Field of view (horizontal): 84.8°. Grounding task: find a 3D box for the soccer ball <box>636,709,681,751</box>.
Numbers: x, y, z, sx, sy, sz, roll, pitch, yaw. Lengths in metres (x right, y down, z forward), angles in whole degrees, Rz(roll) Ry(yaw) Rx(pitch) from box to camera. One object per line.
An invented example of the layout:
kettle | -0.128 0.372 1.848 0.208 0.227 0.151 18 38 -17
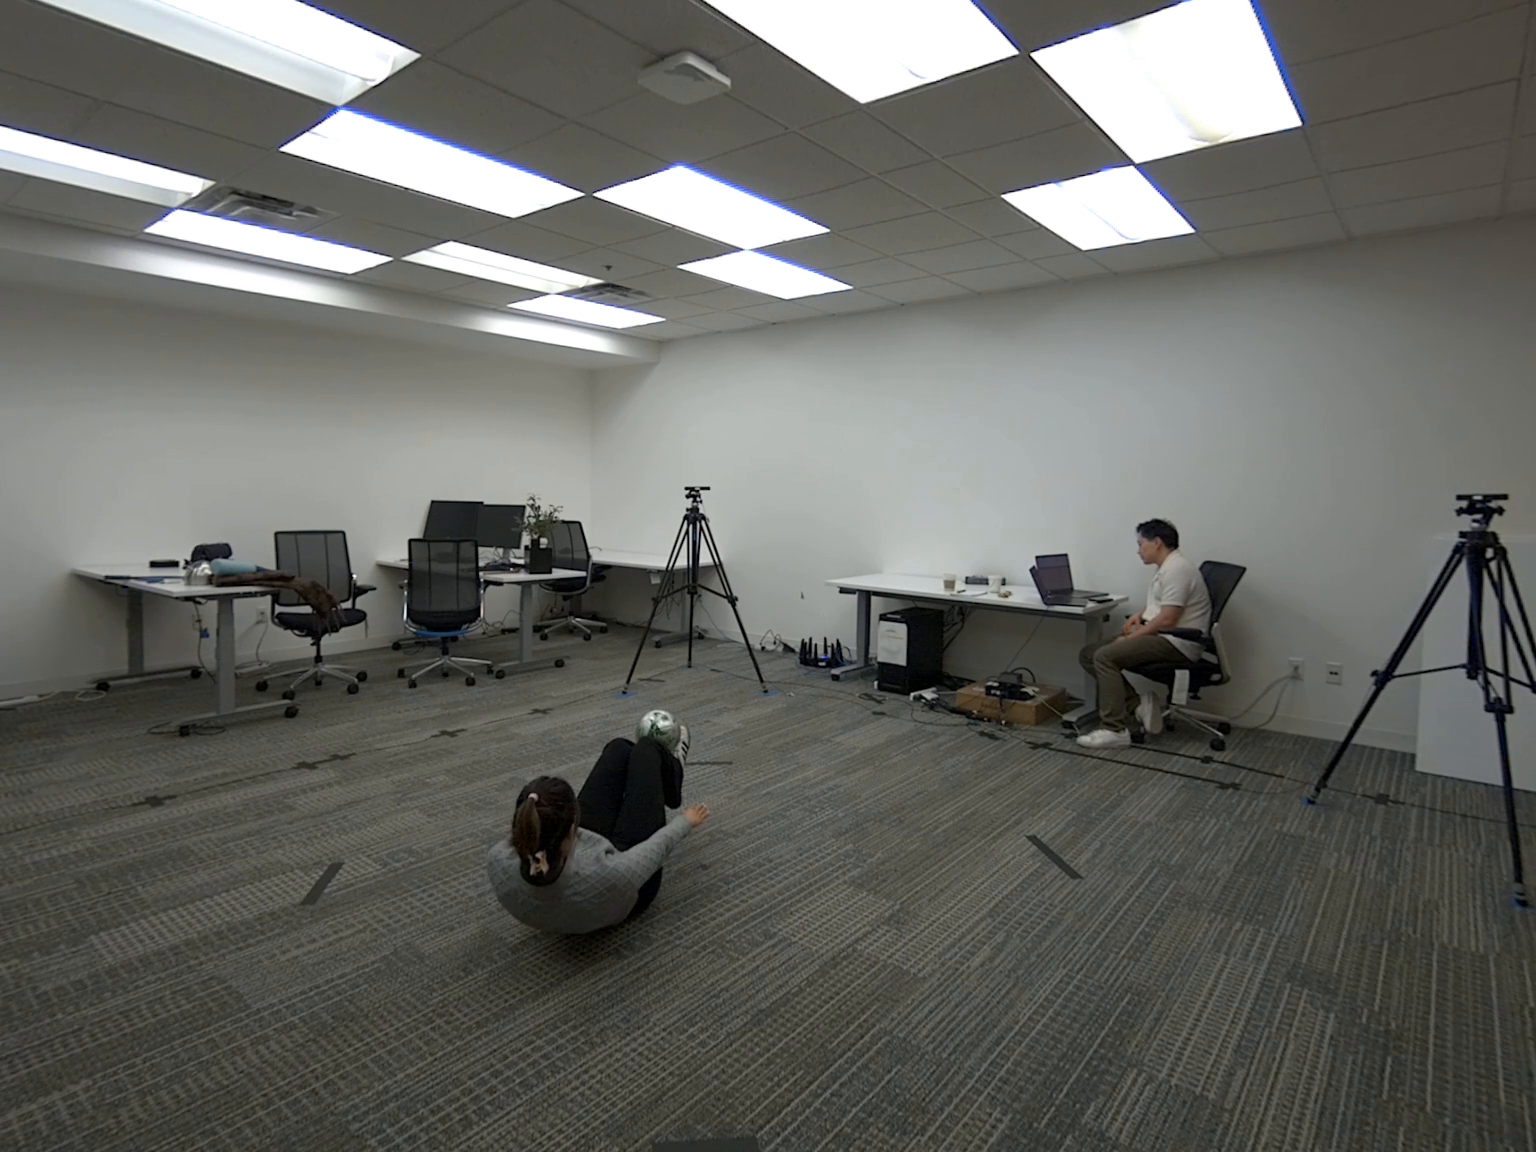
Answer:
soccer ball | -0.461 0.636 3.460 0.187 0.187 0.188 0 4 -2
